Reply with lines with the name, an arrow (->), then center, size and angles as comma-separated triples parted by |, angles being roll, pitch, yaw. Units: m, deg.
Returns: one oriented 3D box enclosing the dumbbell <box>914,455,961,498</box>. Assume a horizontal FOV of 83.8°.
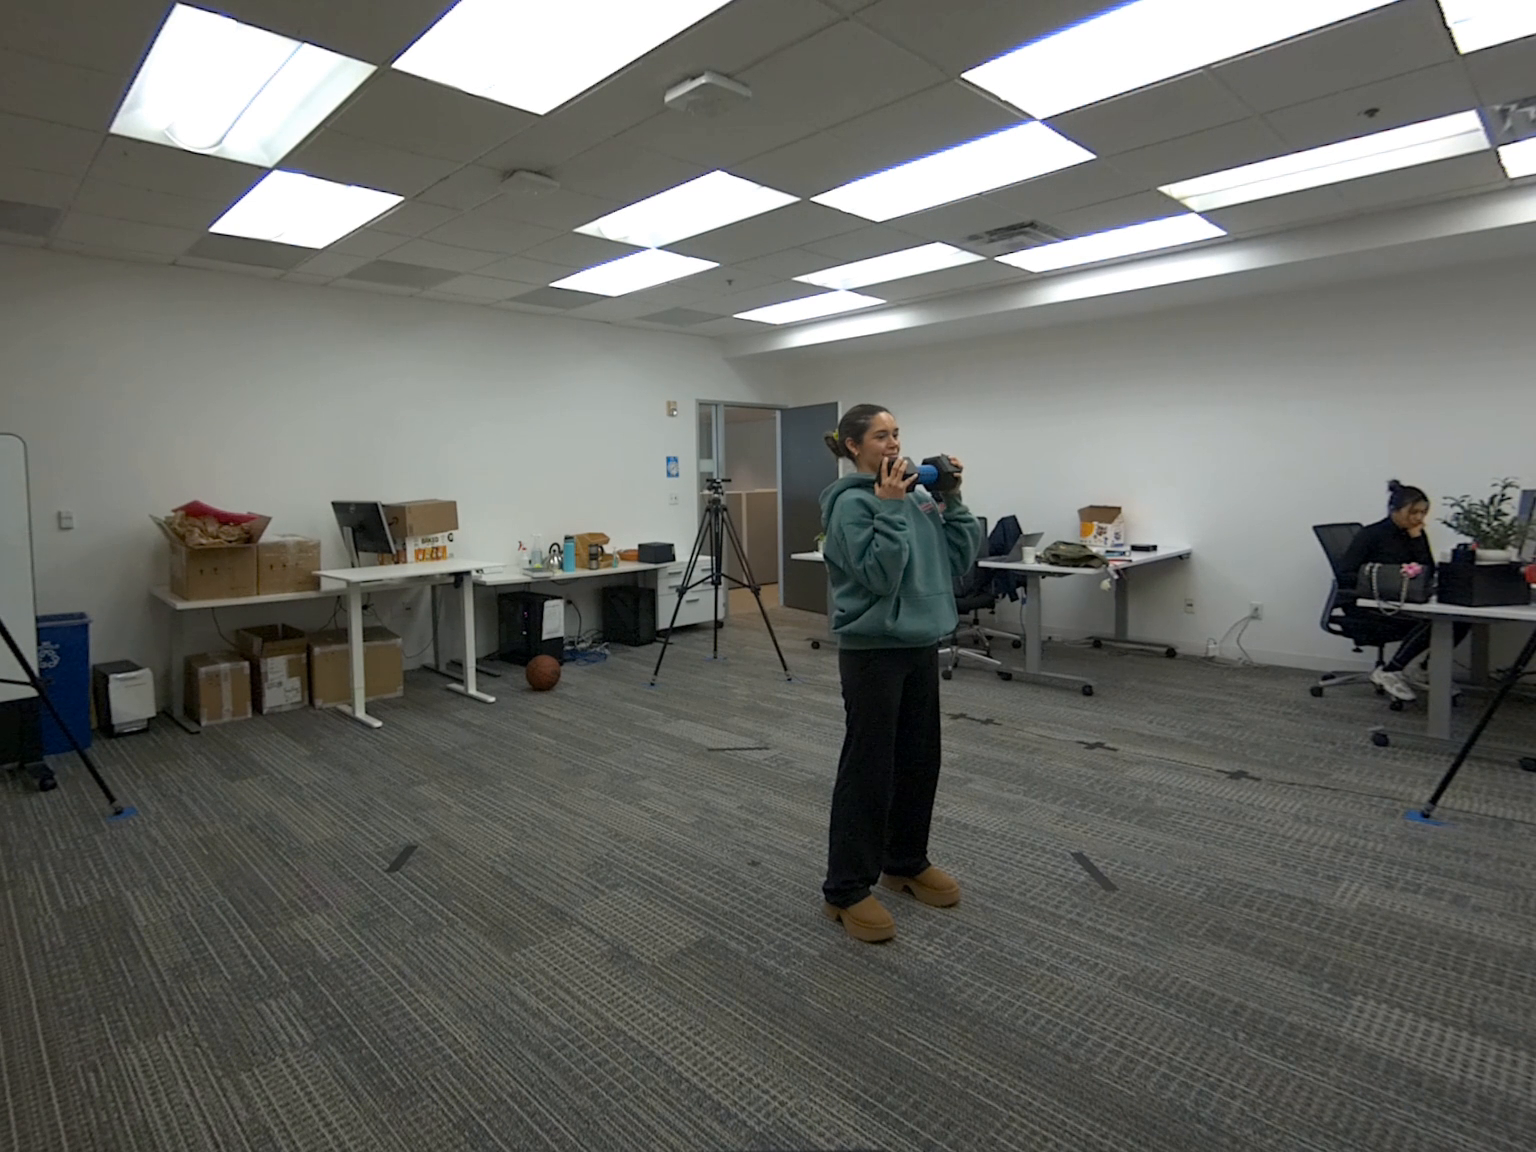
dumbbell -> 0.458, -0.306, 2.617 | 0.286, 0.121, 0.113 | -7, 32, -40
